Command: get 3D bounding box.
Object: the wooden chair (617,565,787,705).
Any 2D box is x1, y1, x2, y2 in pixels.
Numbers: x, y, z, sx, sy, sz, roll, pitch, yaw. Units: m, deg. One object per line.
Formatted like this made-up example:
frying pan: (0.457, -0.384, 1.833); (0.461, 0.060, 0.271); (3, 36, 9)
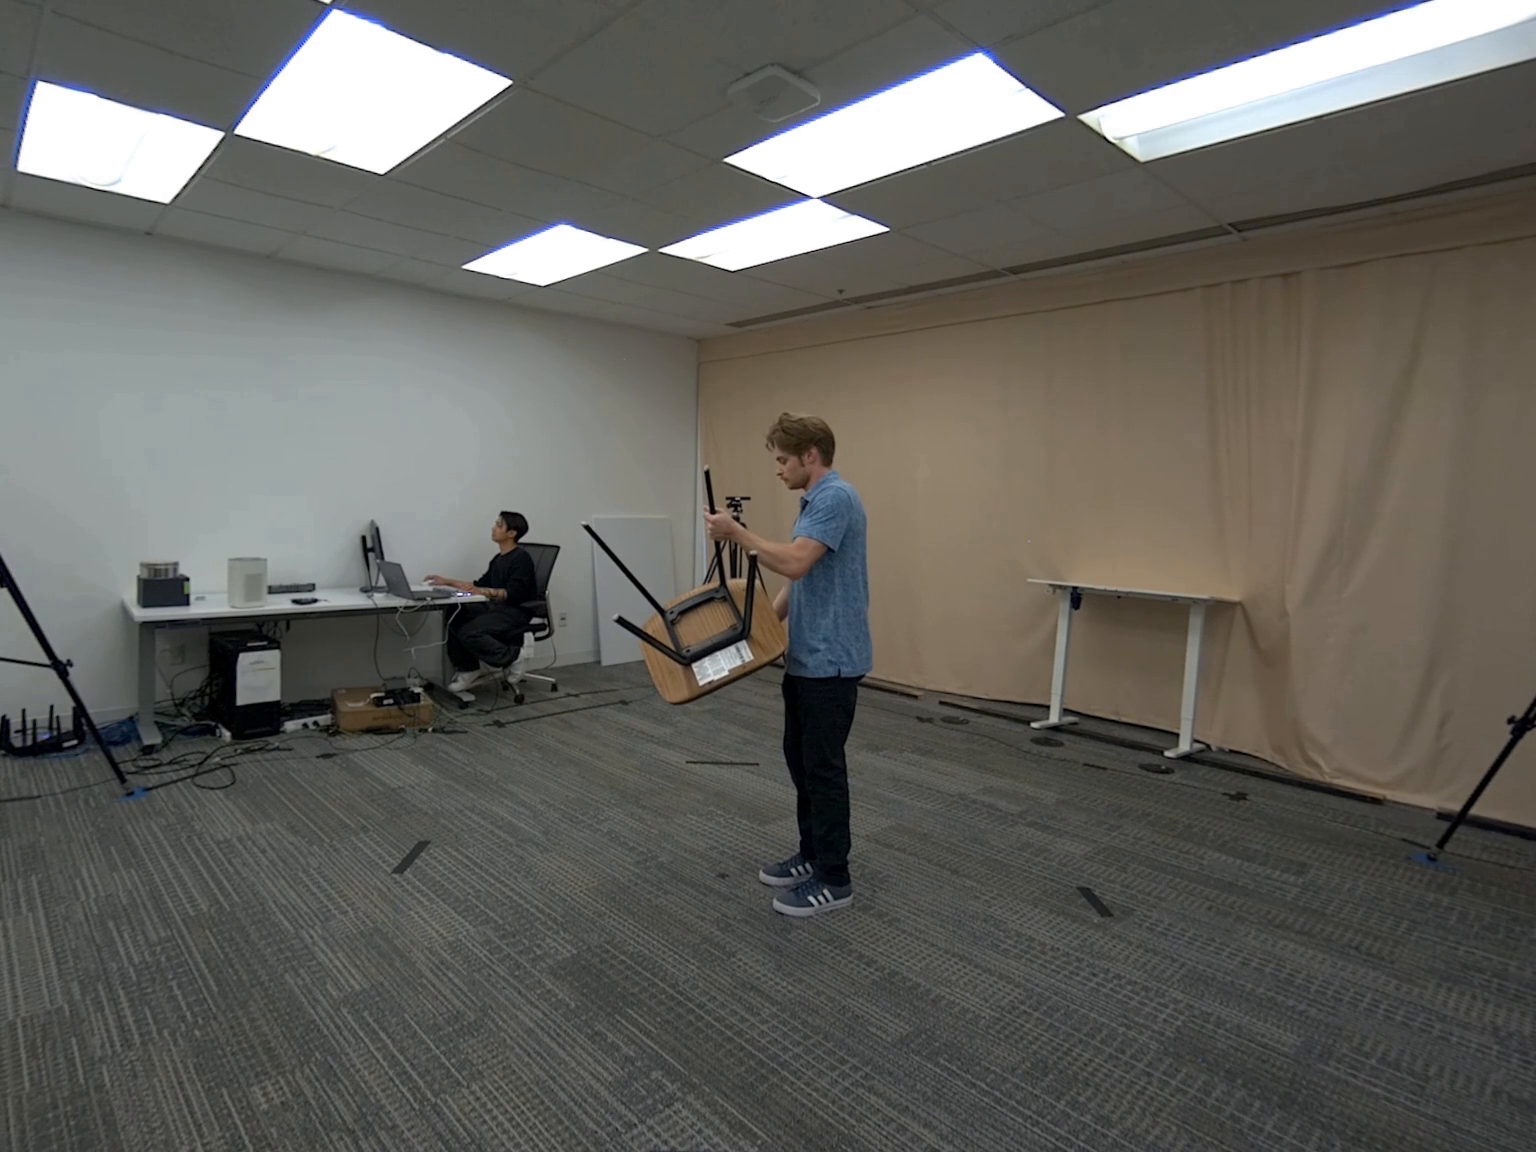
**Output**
wooden chair: (-0.218, 0.166, 2.858); (0.477, 0.852, 0.539); (-25, 50, -5)
